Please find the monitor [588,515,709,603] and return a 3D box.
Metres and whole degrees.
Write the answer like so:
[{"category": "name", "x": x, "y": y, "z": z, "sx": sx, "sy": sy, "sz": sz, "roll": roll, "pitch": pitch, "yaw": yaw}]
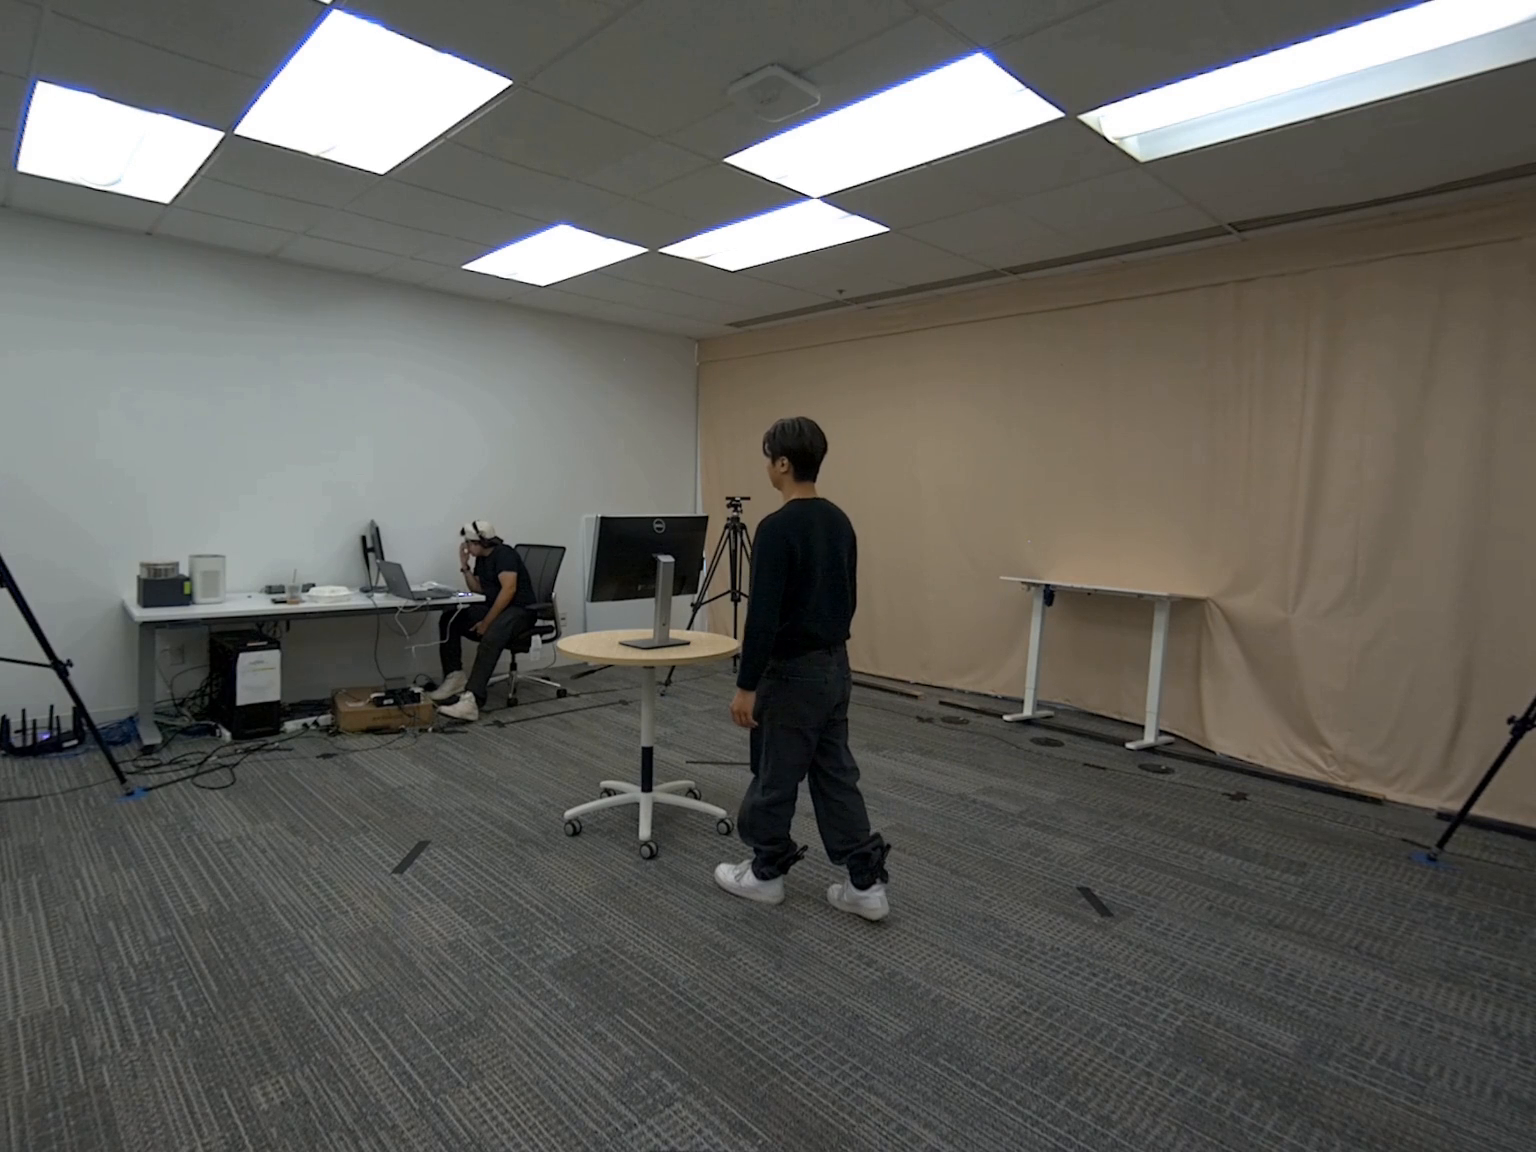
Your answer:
[{"category": "monitor", "x": -0.483, "y": 0.015, "z": 3.507, "sx": 0.518, "sy": 0.515, "sz": 0.179, "roll": -5, "pitch": 3, "yaw": -44}]
